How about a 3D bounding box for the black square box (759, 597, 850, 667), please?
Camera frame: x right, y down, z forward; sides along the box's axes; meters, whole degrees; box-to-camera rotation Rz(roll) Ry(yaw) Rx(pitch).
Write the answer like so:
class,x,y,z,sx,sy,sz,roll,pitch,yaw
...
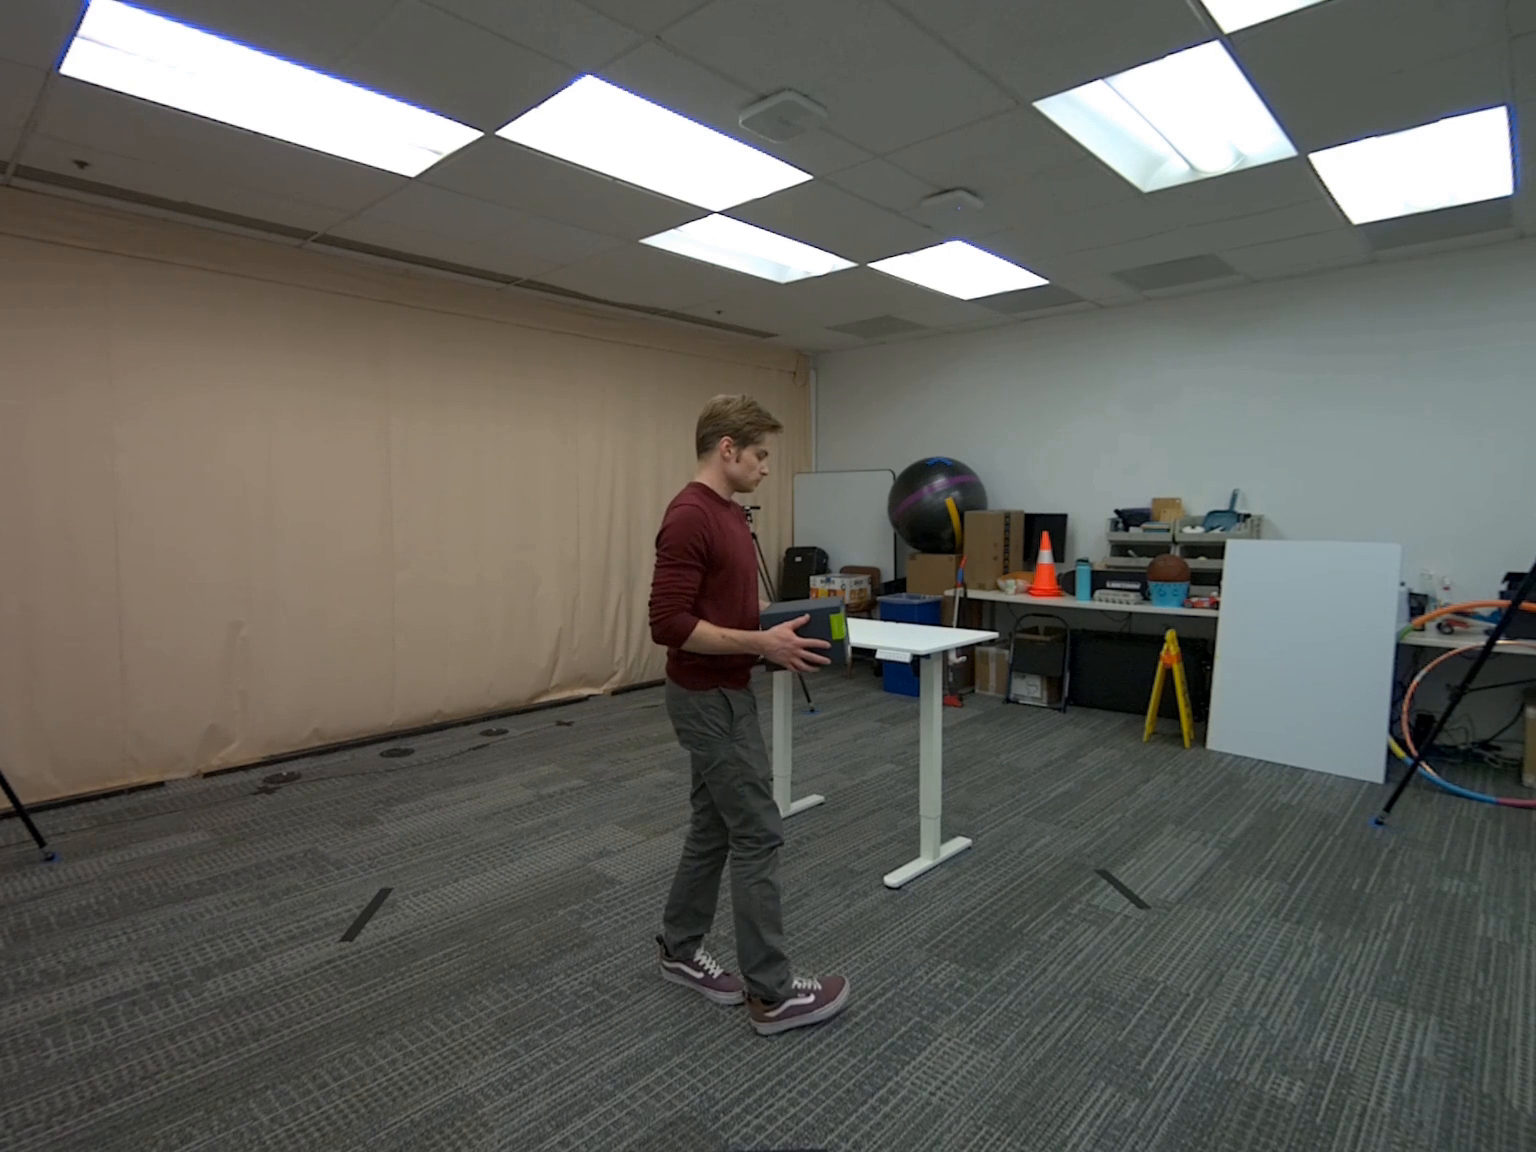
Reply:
class,x,y,z,sx,sy,sz,roll,pitch,yaw
black square box,0.111,0.151,2.286,0.220,0.155,0.225,-6,3,12
